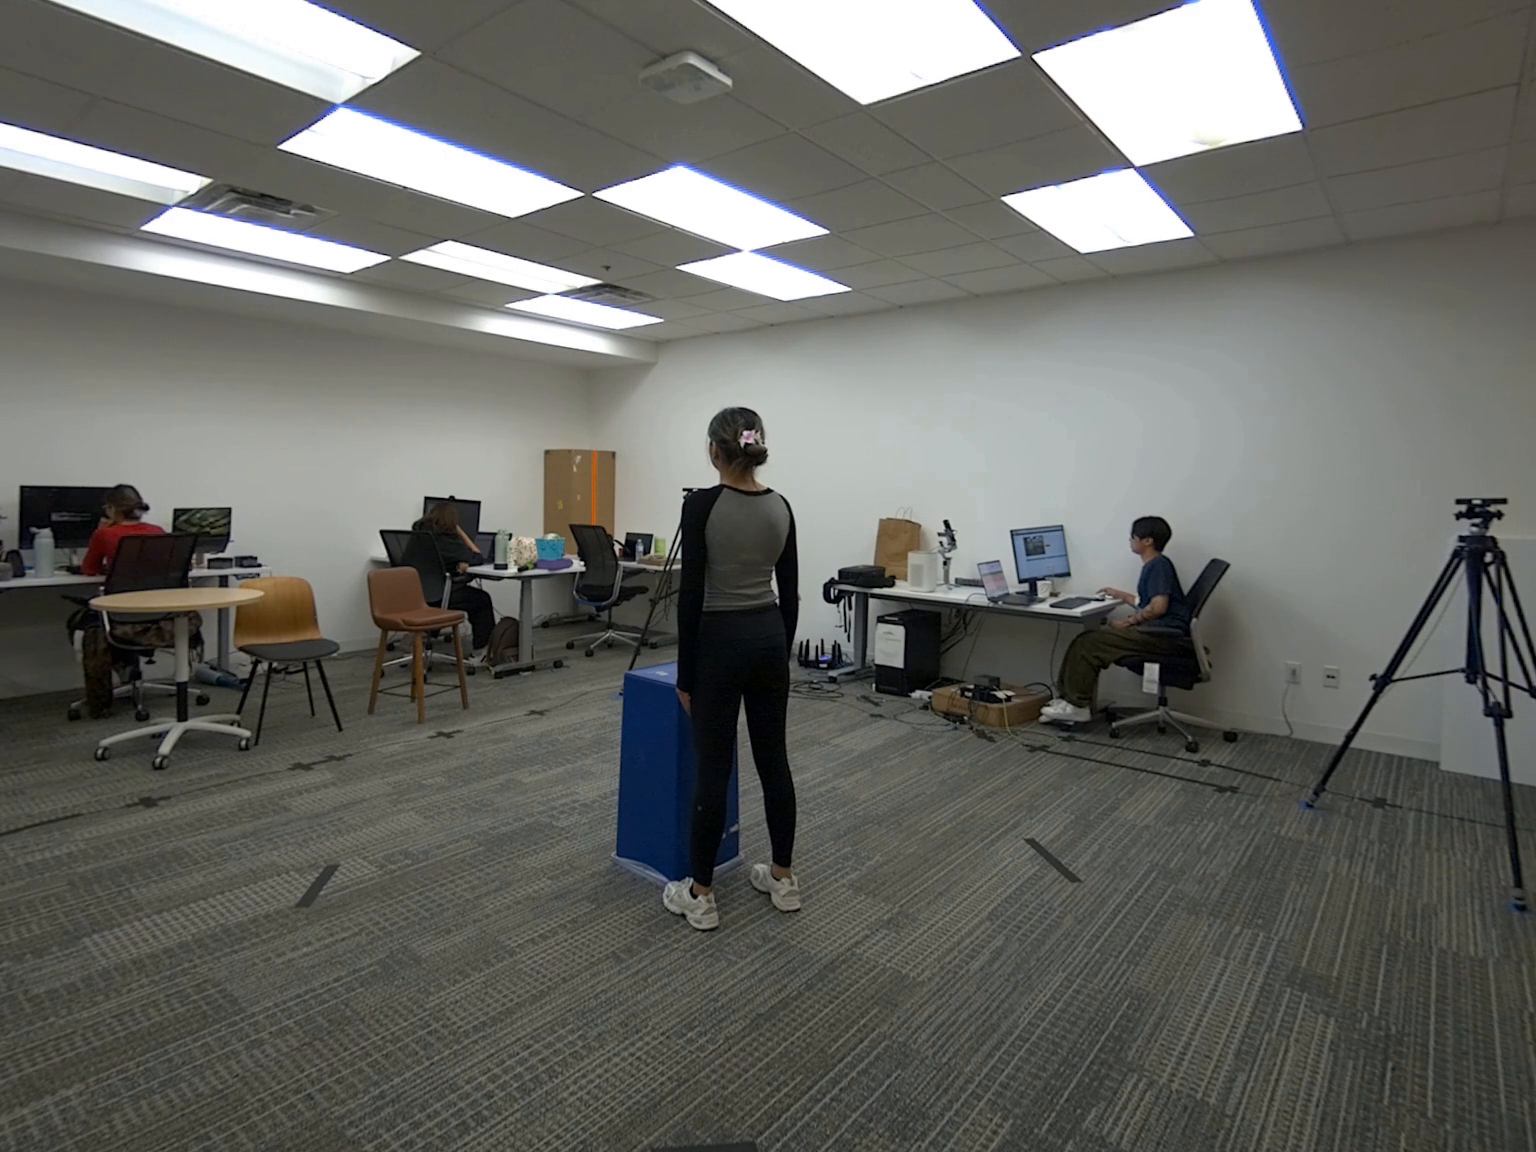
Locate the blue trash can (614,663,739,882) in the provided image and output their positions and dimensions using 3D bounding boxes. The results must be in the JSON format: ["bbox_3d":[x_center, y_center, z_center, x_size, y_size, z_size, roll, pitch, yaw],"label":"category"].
[{"bbox_3d":[-0.350,0.710,3.163,0.391,0.712,0.363,3,4,43],"label":"blue trash can"}]
